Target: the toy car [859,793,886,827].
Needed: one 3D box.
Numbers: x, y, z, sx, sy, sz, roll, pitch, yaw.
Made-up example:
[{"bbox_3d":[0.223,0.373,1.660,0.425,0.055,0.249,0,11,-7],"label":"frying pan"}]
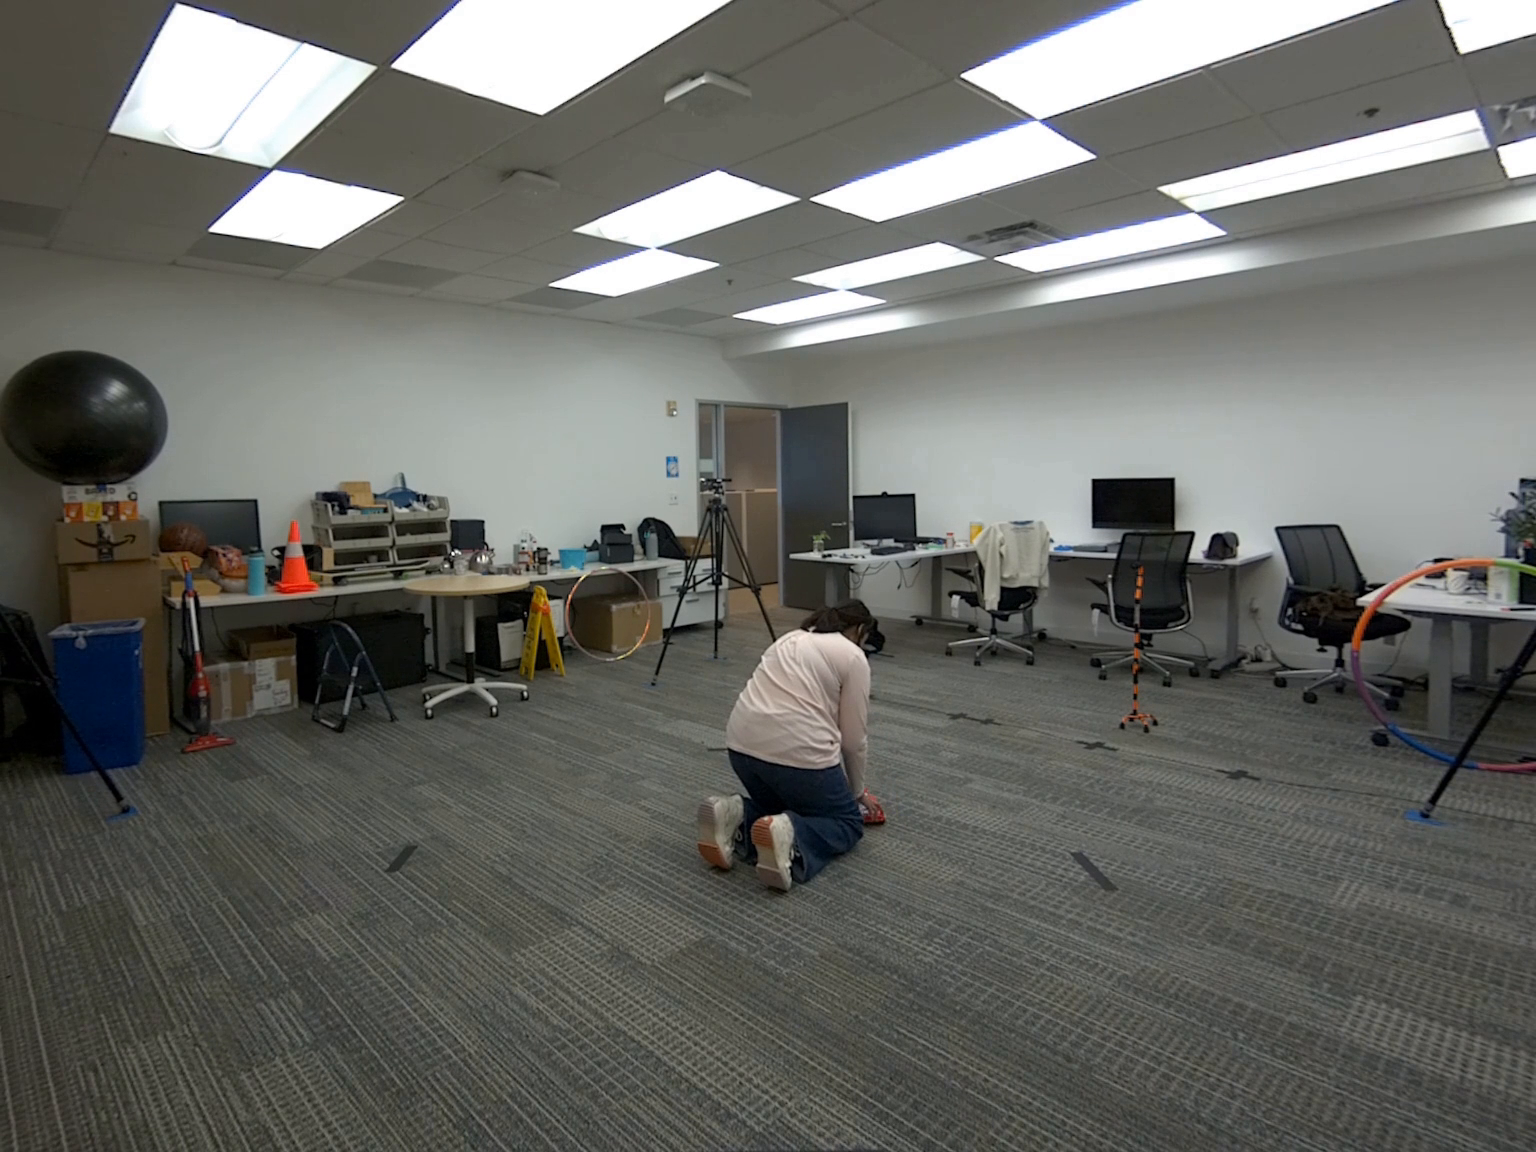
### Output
[{"bbox_3d":[0.405,0.960,3.539,0.130,0.082,0.259,-3,17,-3],"label":"toy car"}]
